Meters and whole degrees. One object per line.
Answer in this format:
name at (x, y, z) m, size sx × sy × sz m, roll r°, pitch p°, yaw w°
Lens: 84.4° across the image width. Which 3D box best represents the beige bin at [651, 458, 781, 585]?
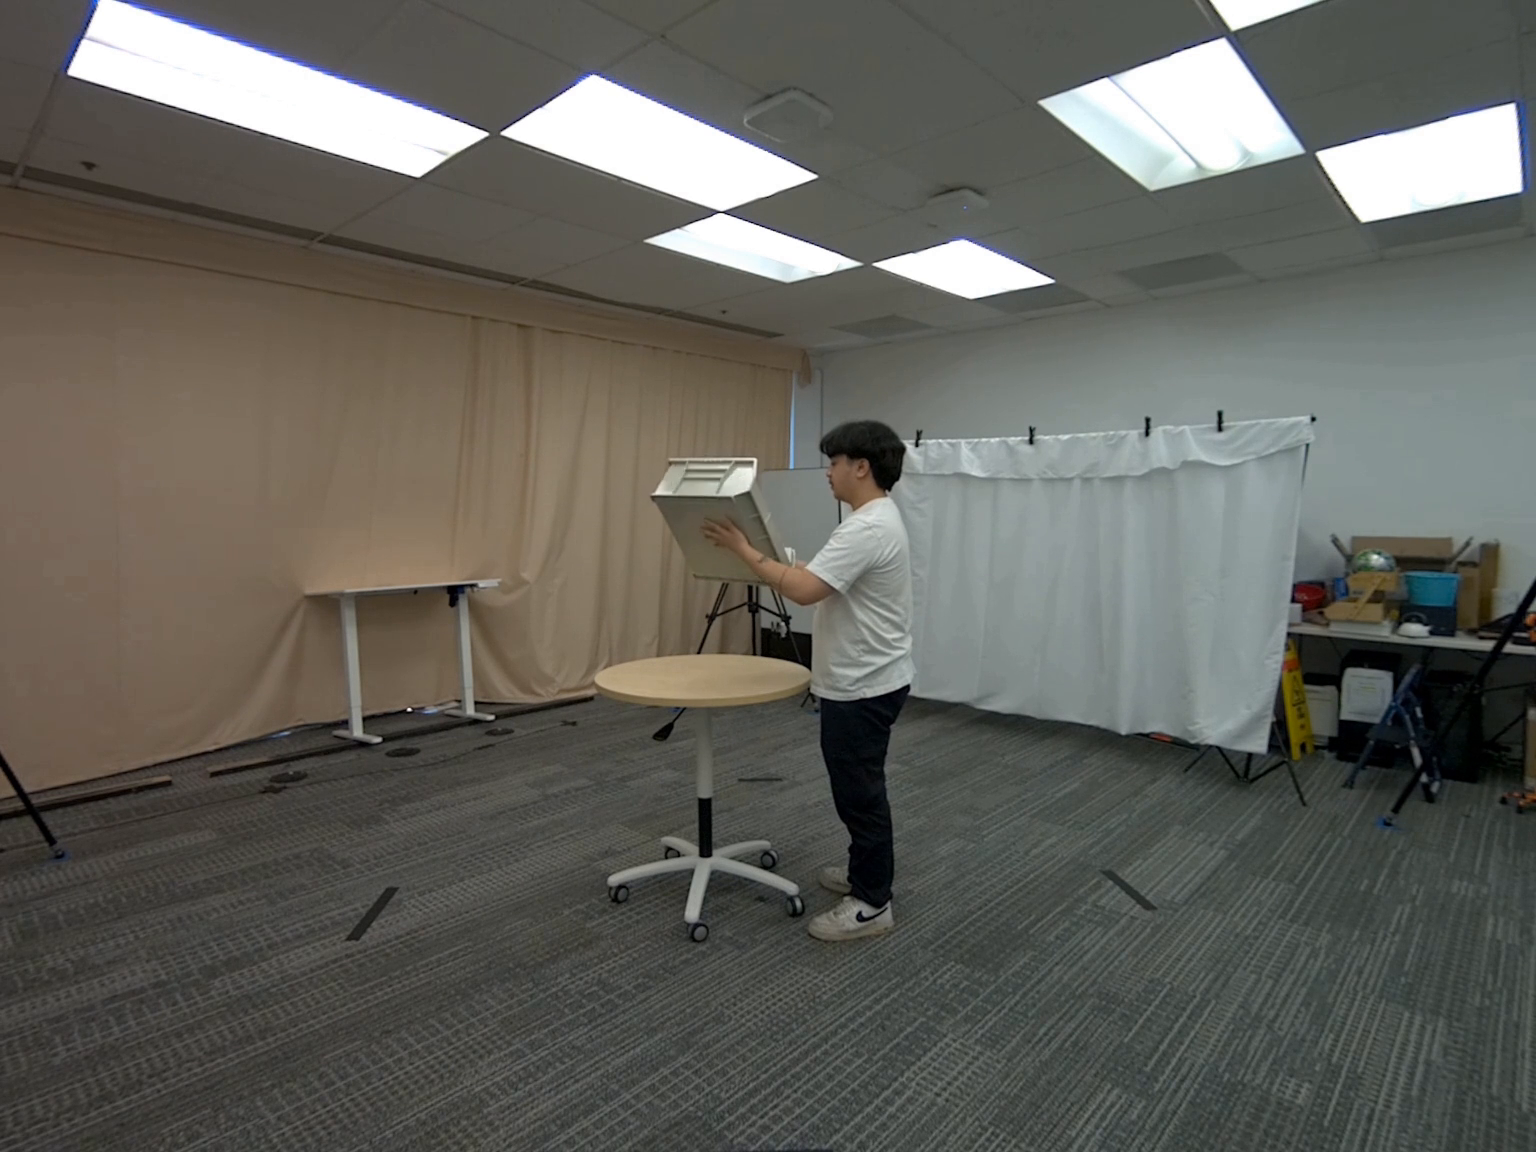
beige bin at (-0.135, -0.179, 2.842) m, size 0.388 × 0.410 × 0.189 m, roll 4°, pitch 48°, yaw 30°
